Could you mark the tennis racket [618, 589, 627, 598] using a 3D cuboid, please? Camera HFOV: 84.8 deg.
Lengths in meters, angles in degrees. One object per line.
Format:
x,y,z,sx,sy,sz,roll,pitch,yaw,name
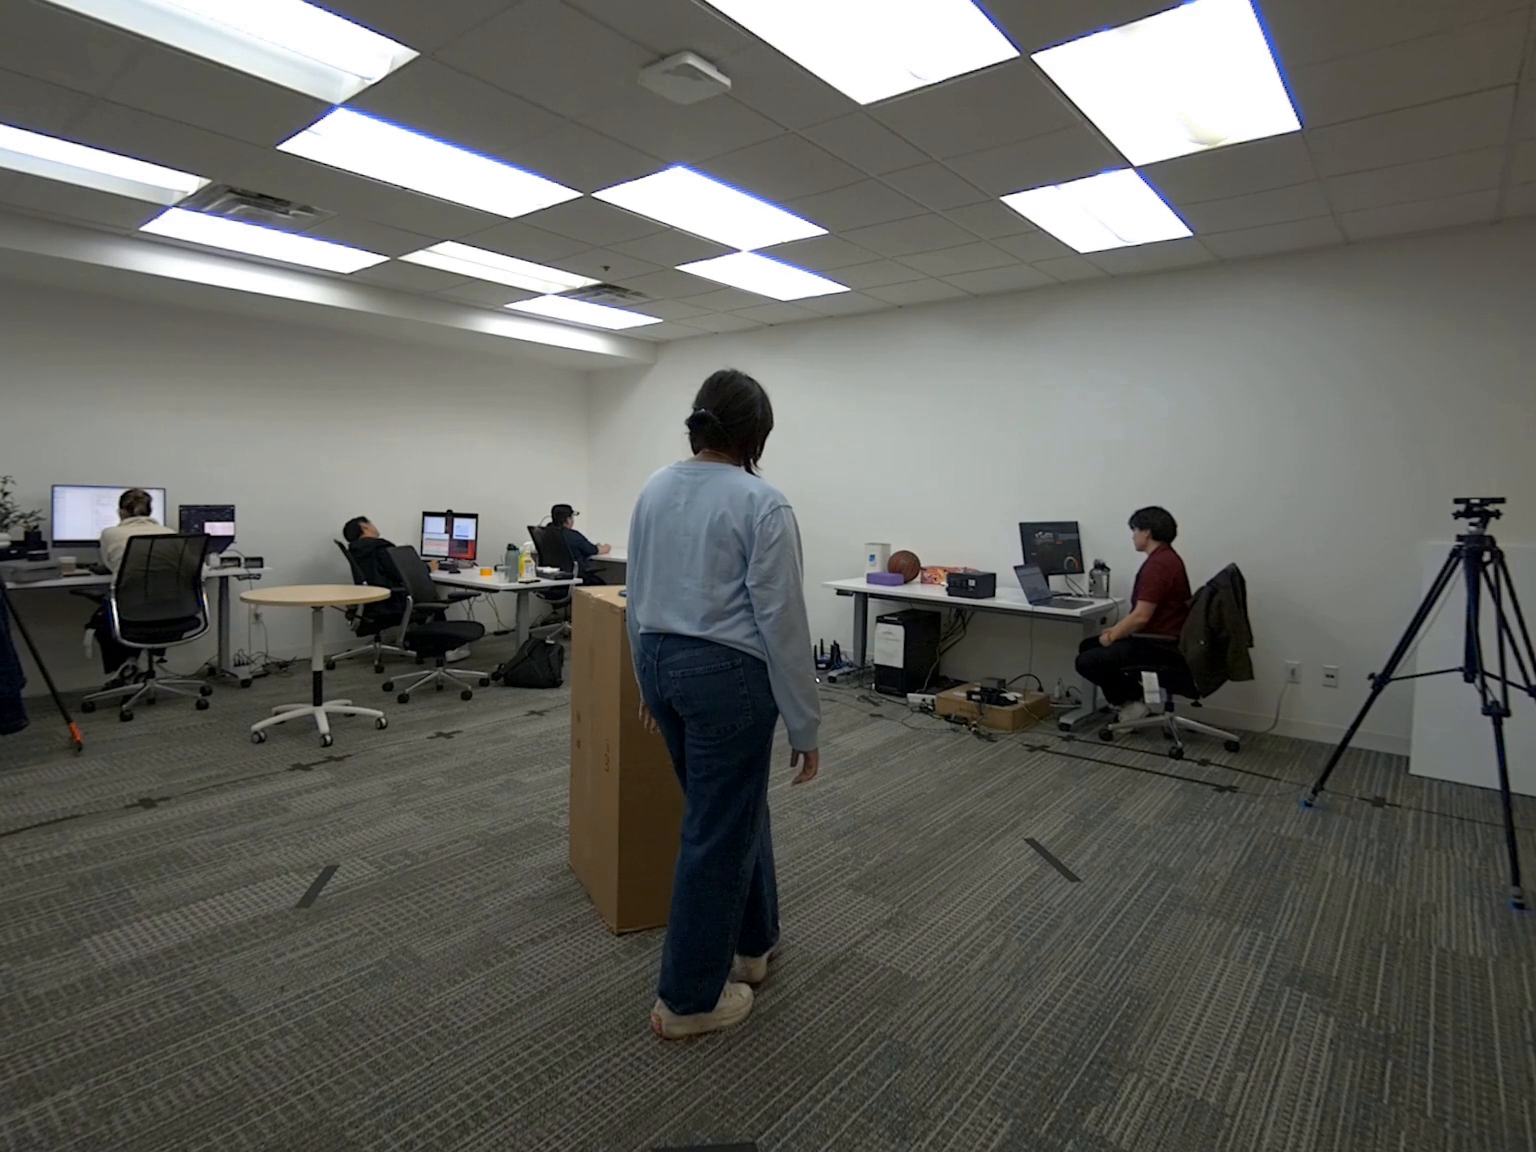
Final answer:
-0.329,0.062,2.831,0.445,0.032,0.208,2,5,30,tennis racket
